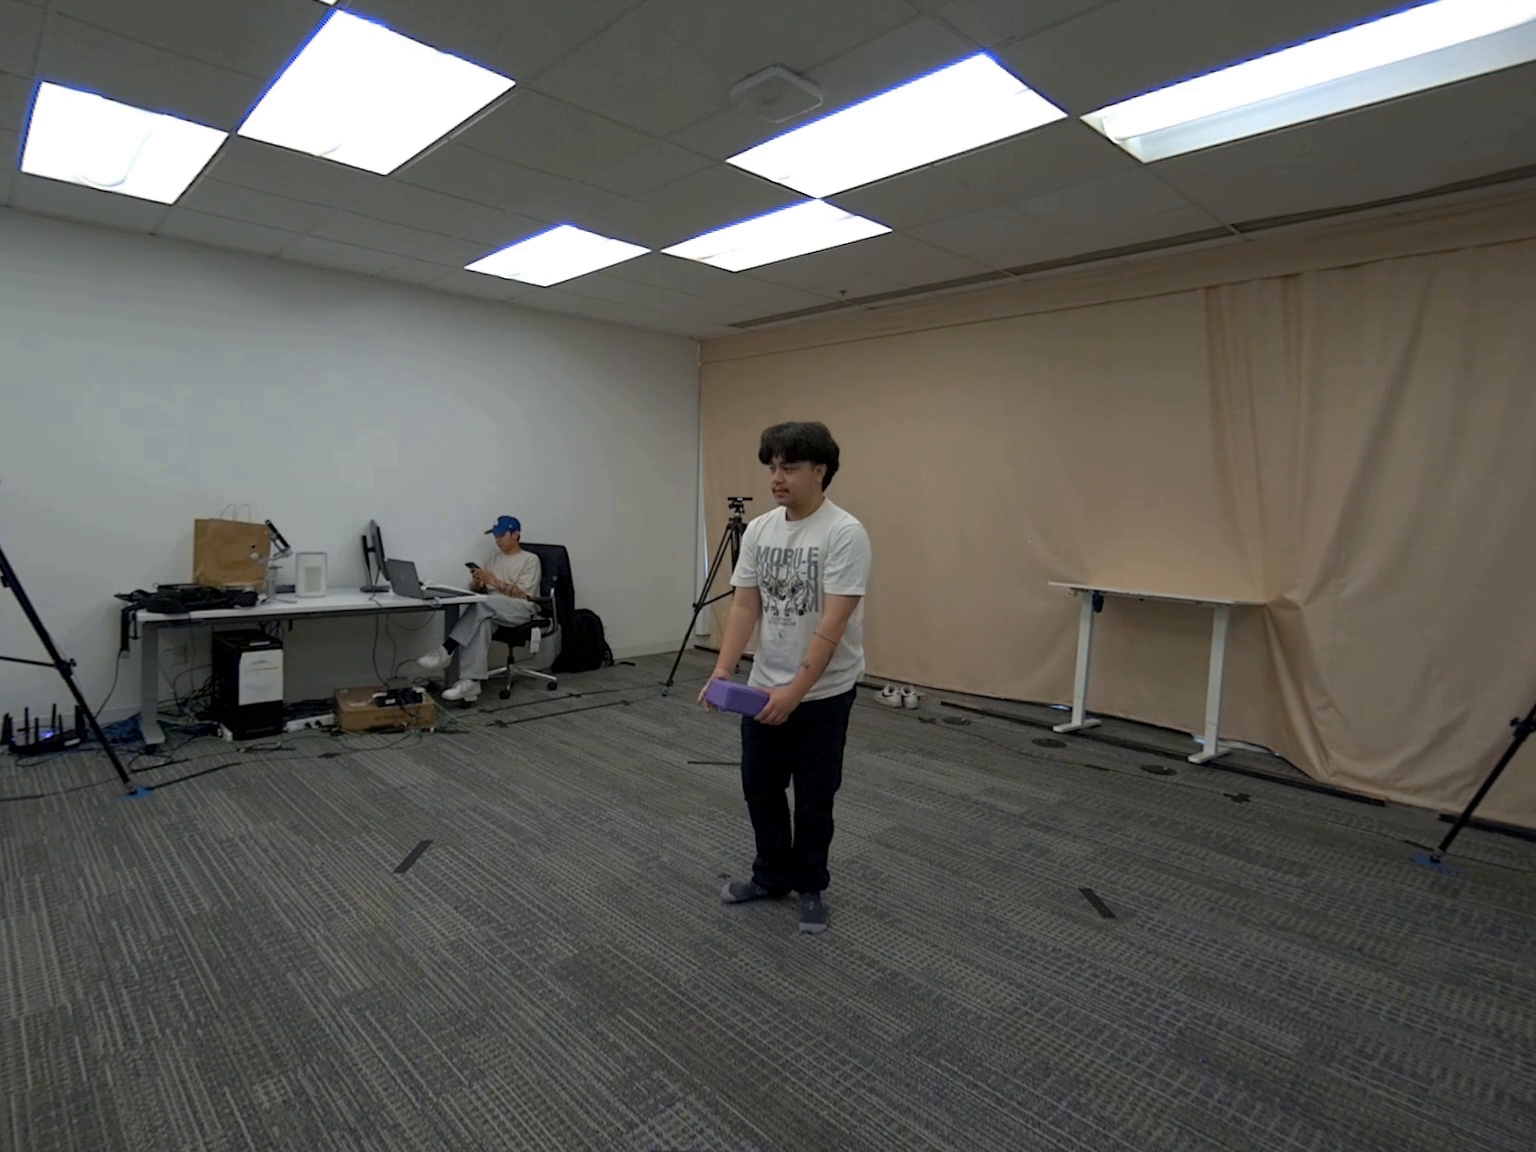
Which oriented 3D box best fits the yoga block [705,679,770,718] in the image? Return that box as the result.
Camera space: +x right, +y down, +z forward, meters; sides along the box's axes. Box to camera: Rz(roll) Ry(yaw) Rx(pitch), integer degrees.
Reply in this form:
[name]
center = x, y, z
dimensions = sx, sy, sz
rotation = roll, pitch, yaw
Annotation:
[yoga block]
center = -0.073, 0.390, 2.603
dimensions = 0.225, 0.076, 0.152
rotation = 13, -2, -24
